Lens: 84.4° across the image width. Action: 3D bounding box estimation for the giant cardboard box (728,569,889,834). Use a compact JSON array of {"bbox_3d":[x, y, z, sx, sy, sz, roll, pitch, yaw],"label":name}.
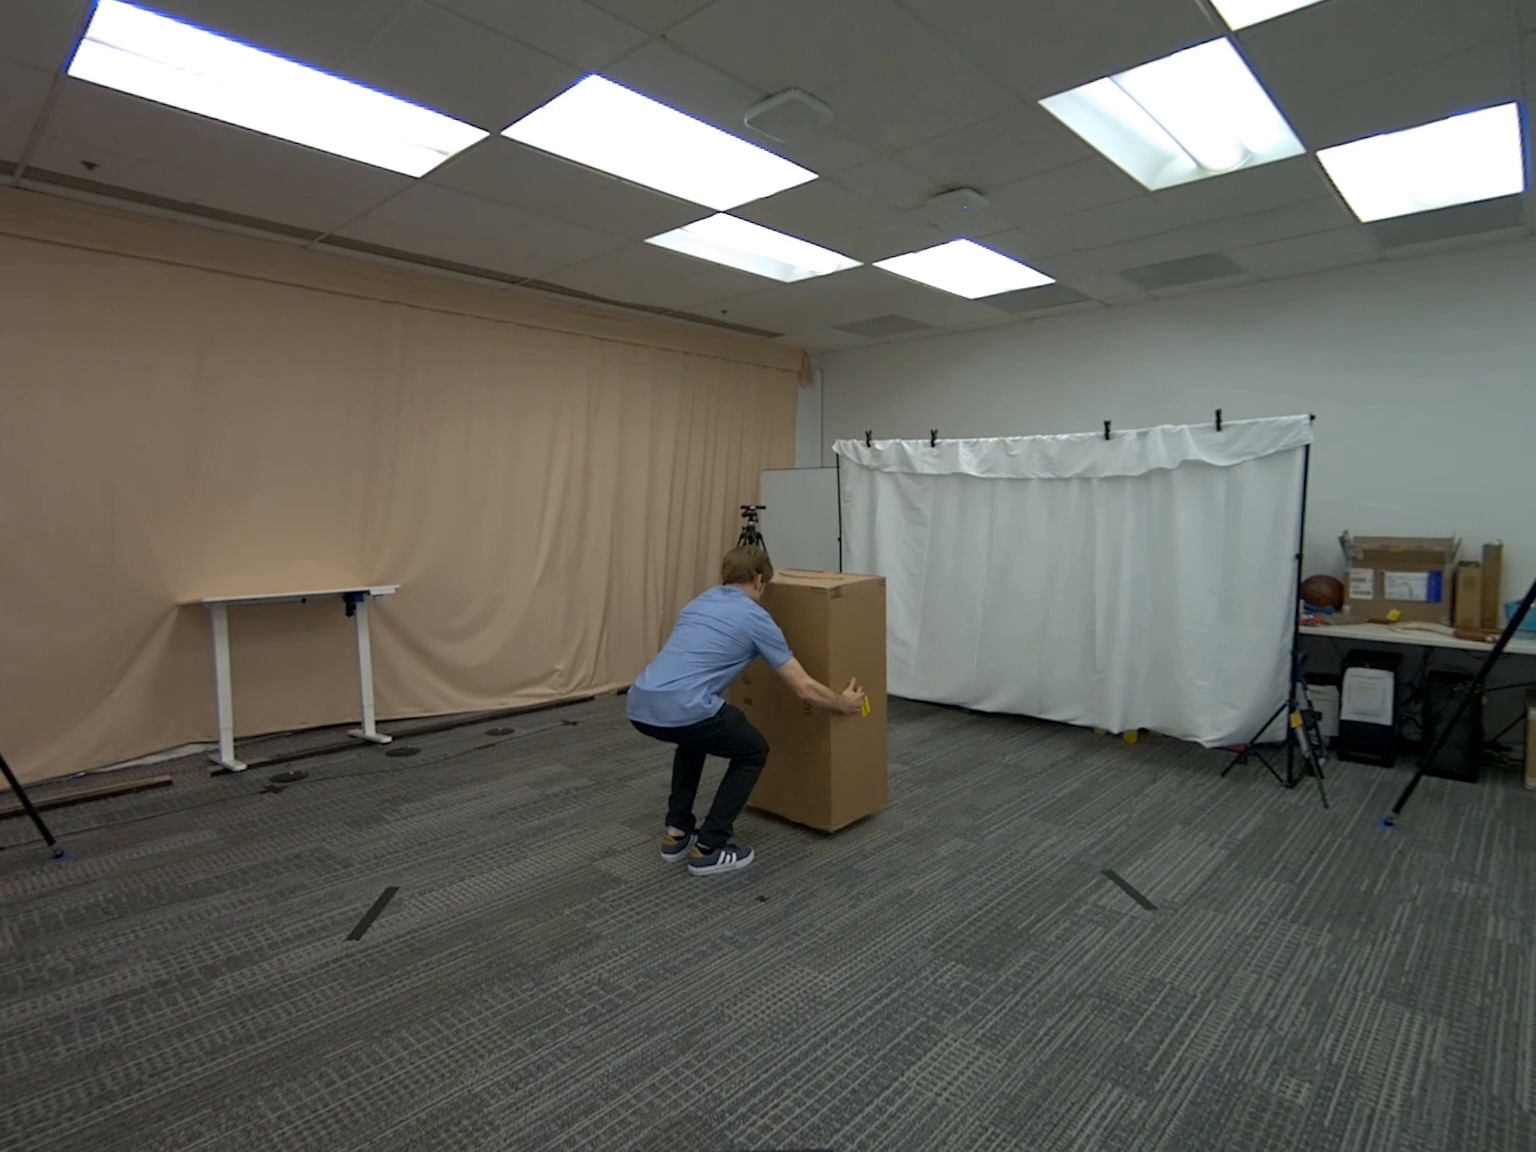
[{"bbox_3d":[0.177,0.513,3.774,0.597,1.022,0.413,4,7,42],"label":"giant cardboard box"}]
